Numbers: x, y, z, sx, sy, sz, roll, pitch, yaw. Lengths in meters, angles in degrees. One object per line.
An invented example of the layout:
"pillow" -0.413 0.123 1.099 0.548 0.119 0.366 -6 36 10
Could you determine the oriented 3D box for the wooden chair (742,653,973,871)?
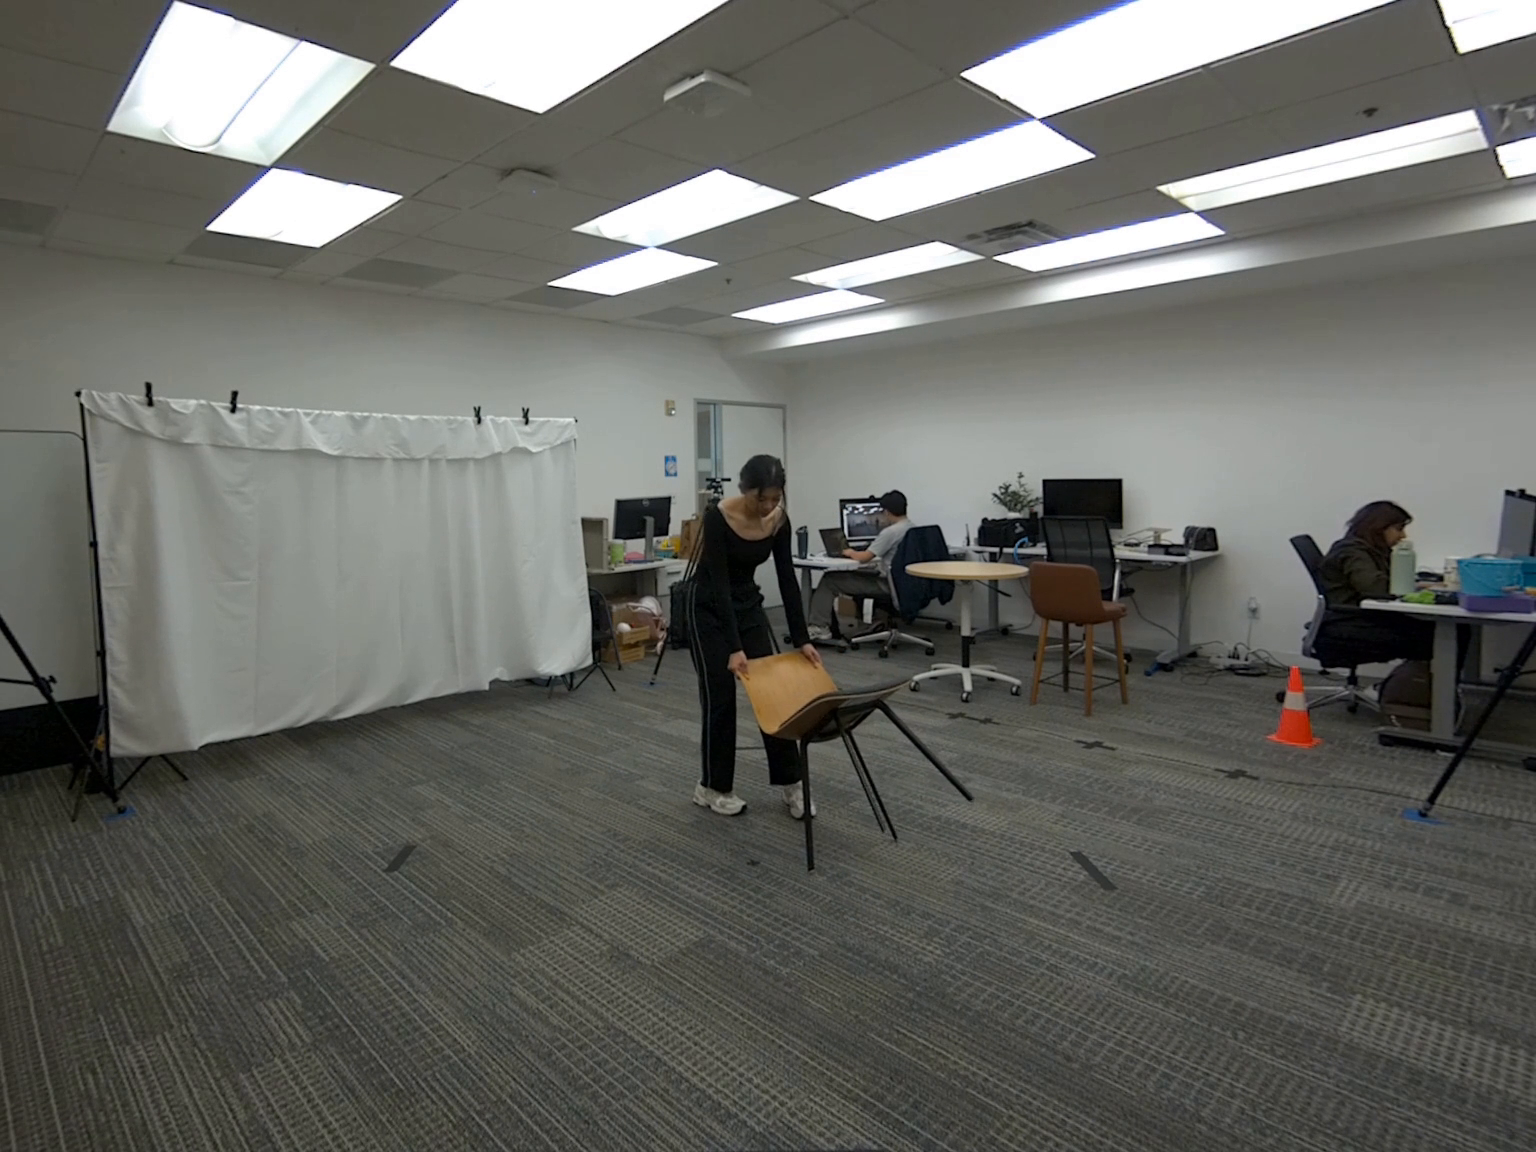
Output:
"wooden chair" 0.276 0.541 3.169 0.466 0.905 0.520 -4 -35 -36
